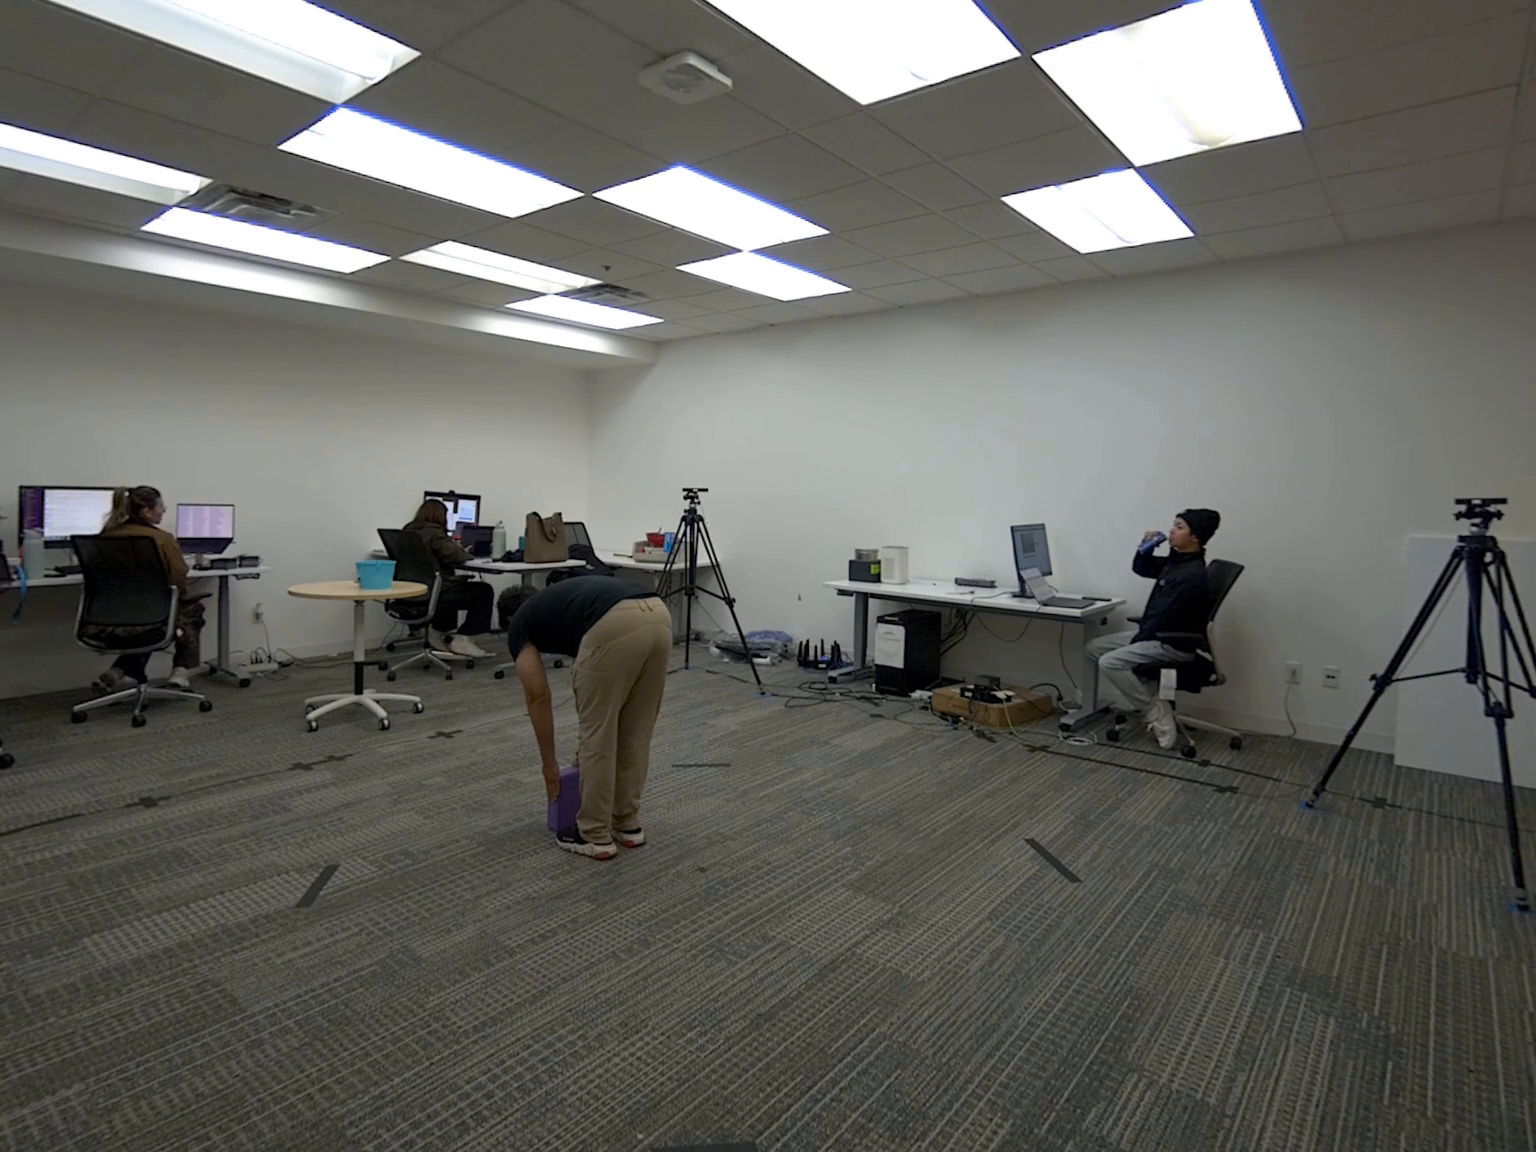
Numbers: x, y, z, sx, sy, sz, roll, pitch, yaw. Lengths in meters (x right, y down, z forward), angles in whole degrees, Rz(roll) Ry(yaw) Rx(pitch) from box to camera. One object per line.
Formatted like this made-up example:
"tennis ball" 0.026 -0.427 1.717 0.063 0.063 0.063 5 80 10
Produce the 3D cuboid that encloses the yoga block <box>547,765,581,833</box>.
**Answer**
"yoga block" -0.842 0.911 3.487 0.079 0.229 0.144 1 3 42
